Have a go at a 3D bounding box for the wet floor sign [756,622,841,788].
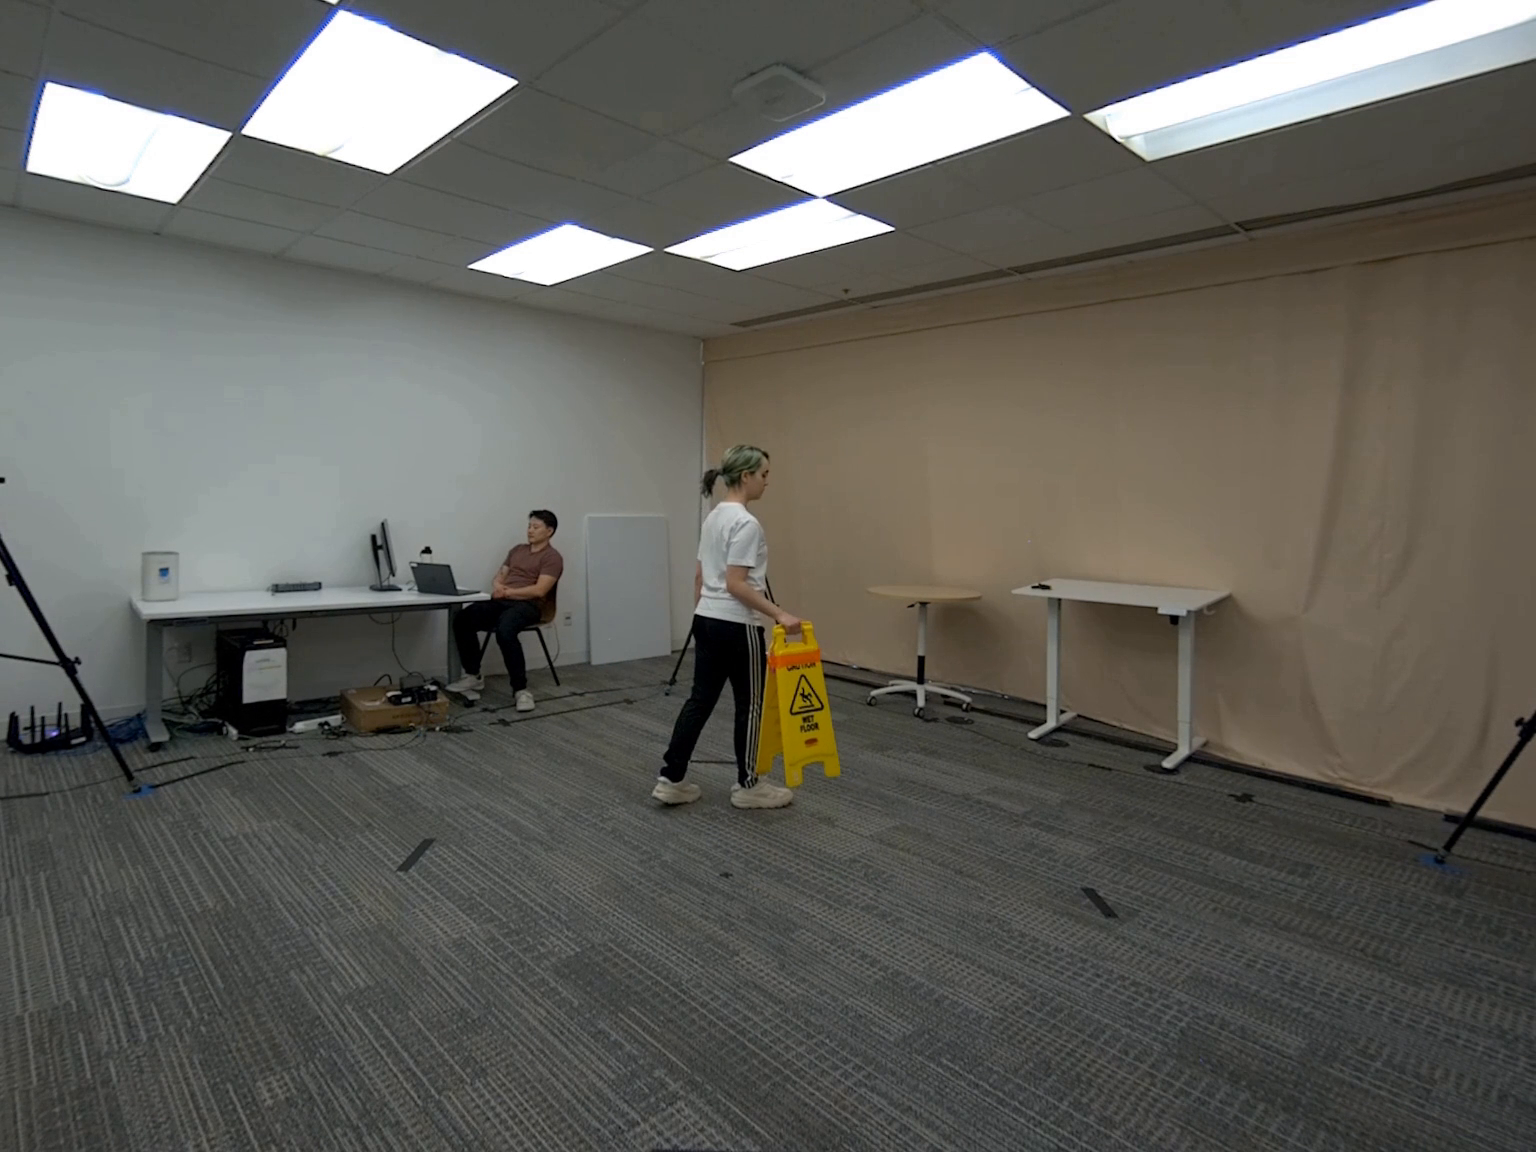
[{"bbox_3d":[0.114,0.526,3.603,0.277,0.644,0.296,-5,5,-33],"label":"wet floor sign"}]
